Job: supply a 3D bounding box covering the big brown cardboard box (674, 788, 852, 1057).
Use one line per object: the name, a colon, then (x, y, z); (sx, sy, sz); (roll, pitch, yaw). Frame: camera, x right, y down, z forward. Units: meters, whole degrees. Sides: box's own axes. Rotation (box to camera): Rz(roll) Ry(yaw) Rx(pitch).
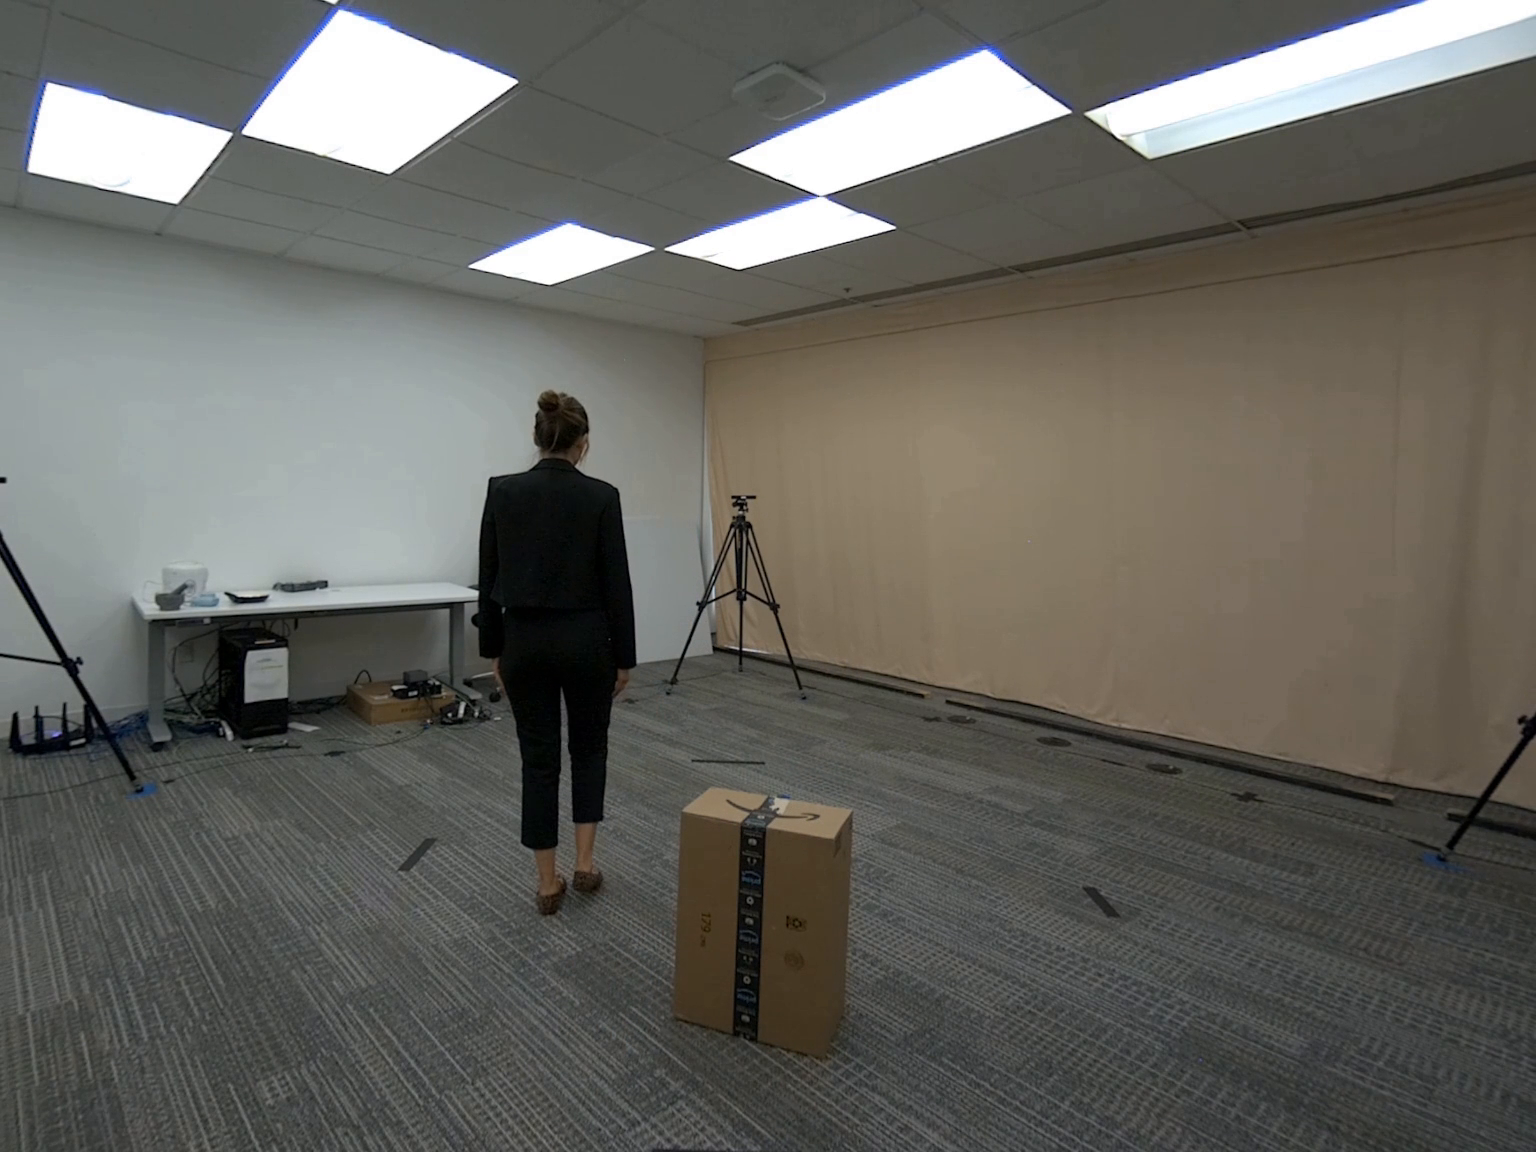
big brown cardboard box: (-0.014, 0.907, 2.241); (0.424, 0.587, 0.230); (4, 5, 20)
